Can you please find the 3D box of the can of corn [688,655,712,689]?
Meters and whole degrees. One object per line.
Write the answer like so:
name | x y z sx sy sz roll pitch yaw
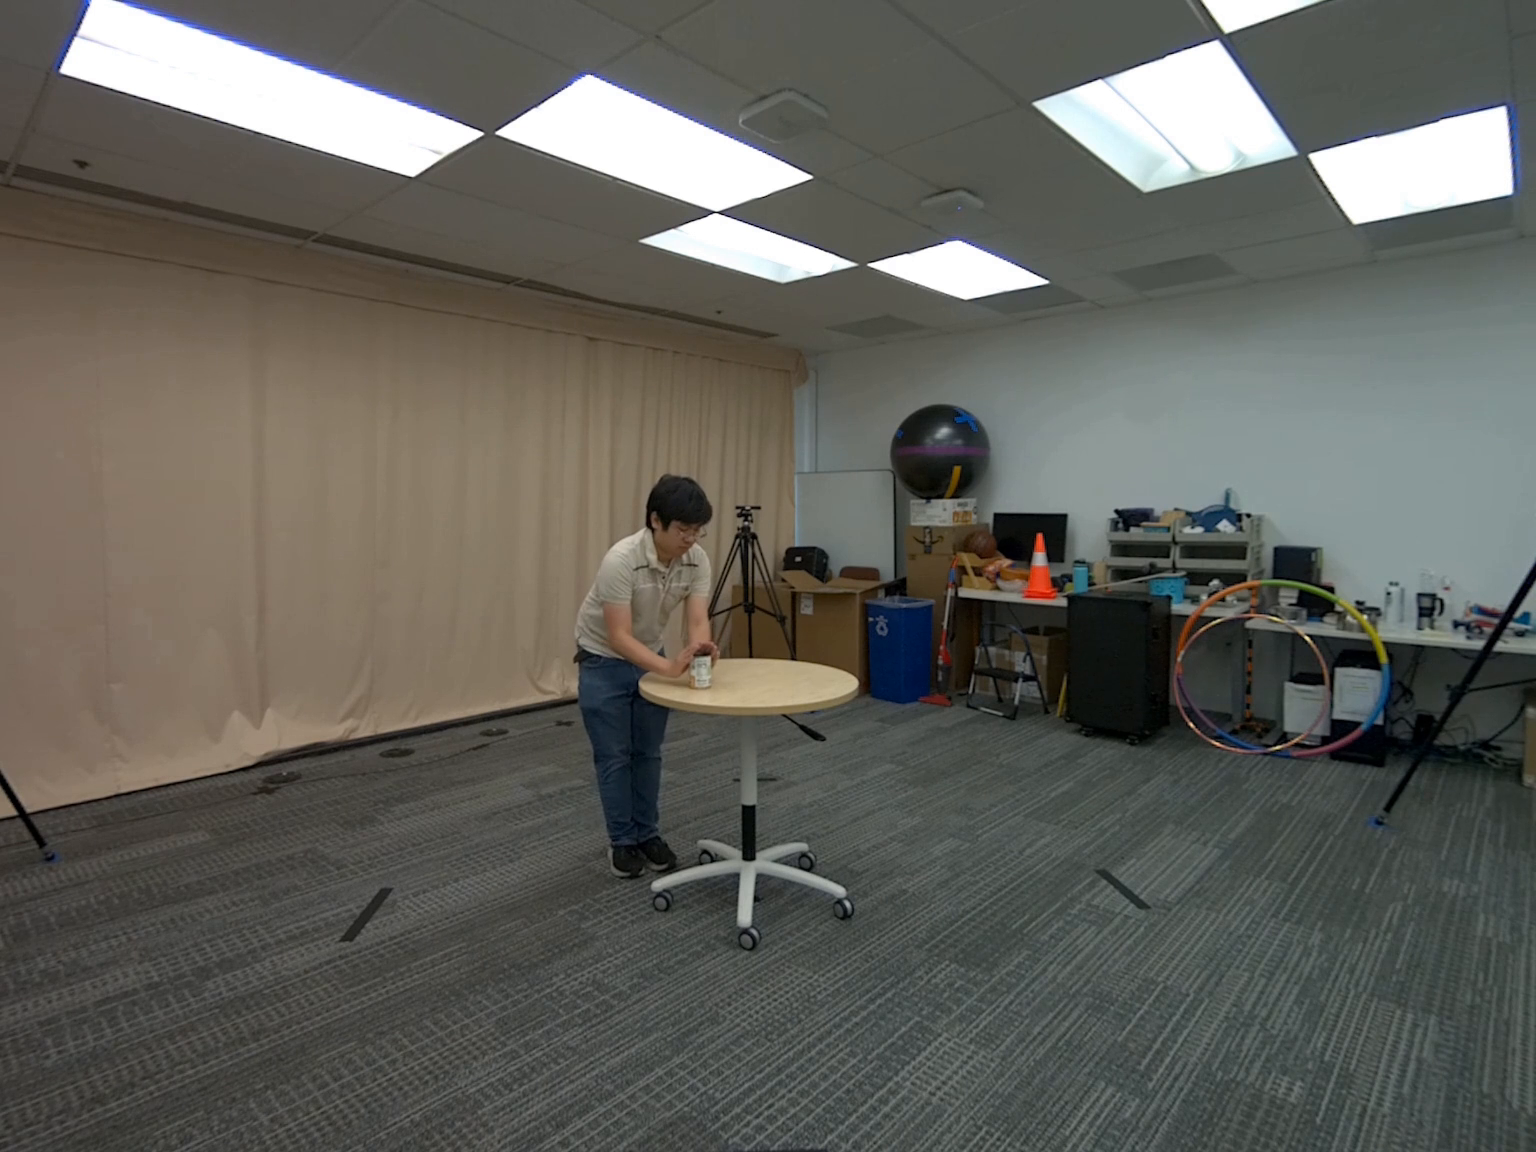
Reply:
can of corn | -0.221 0.325 2.825 0.074 0.111 0.074 -5 2 -2
